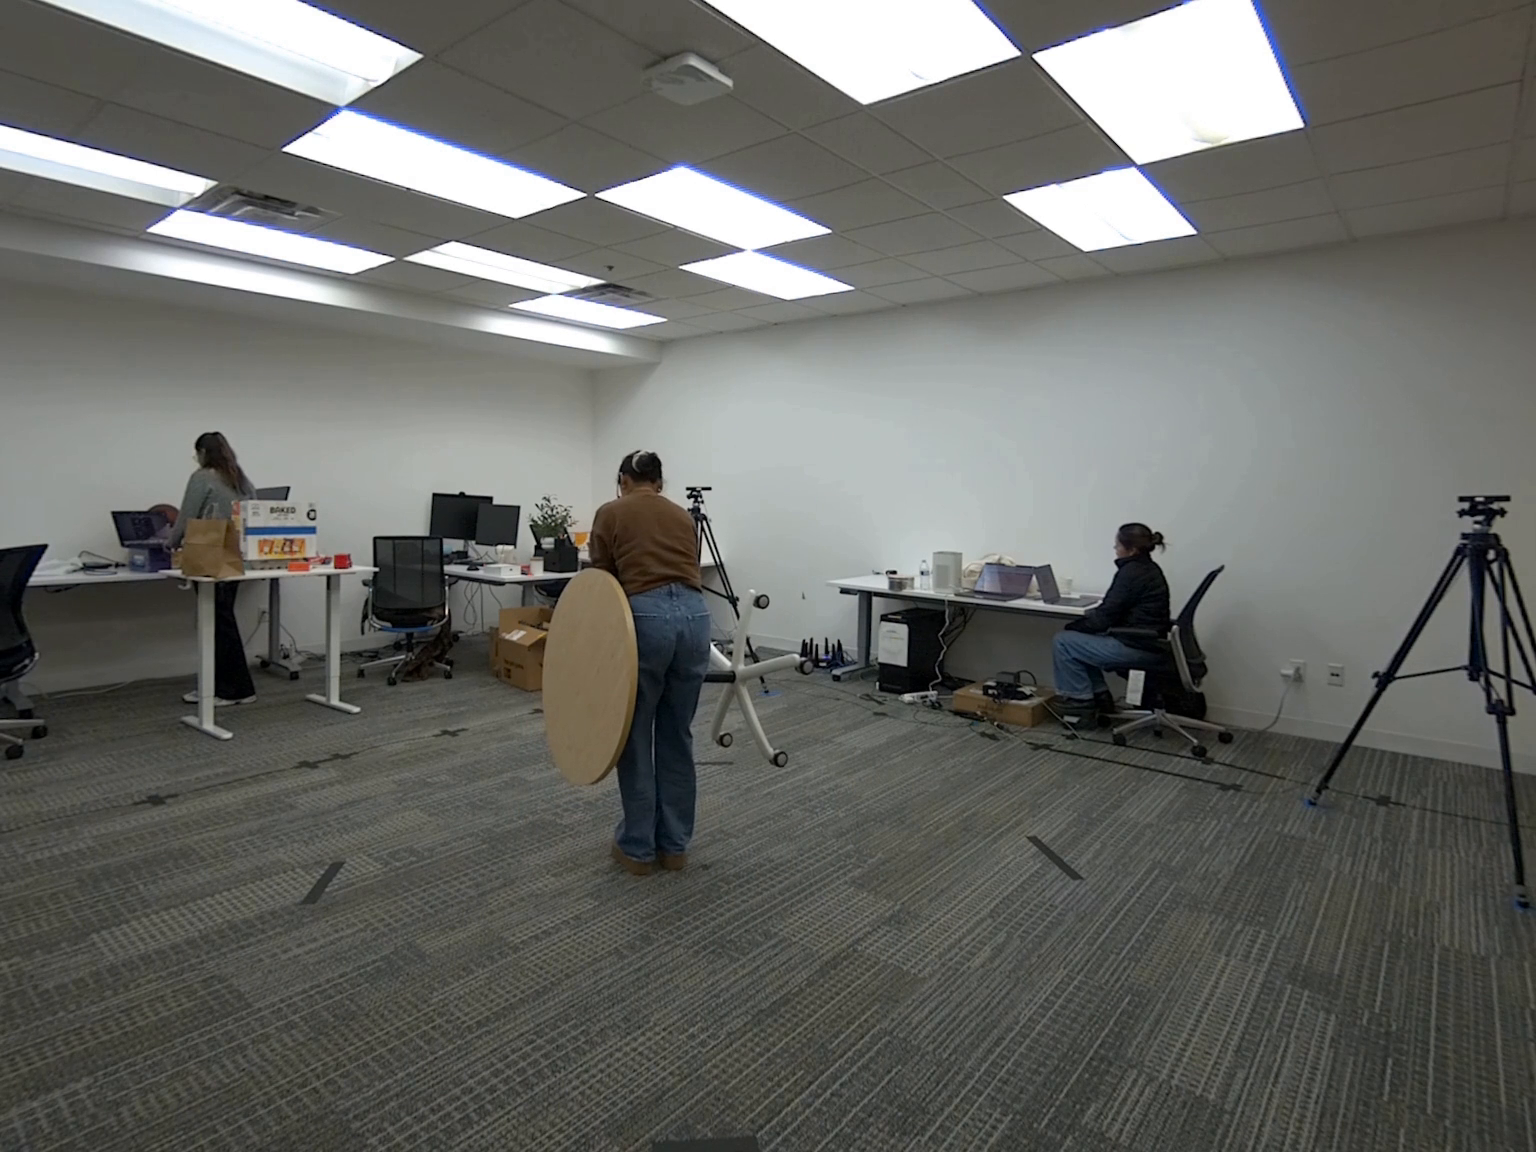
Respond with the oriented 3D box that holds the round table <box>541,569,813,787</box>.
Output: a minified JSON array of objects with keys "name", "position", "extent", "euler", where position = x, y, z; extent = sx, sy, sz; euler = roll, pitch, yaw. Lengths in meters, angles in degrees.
[{"name":"round table","position":[-0.366,0.388,3.274],"extent":[0.769,0.764,0.788],"euler":[6,0,-34]}]
